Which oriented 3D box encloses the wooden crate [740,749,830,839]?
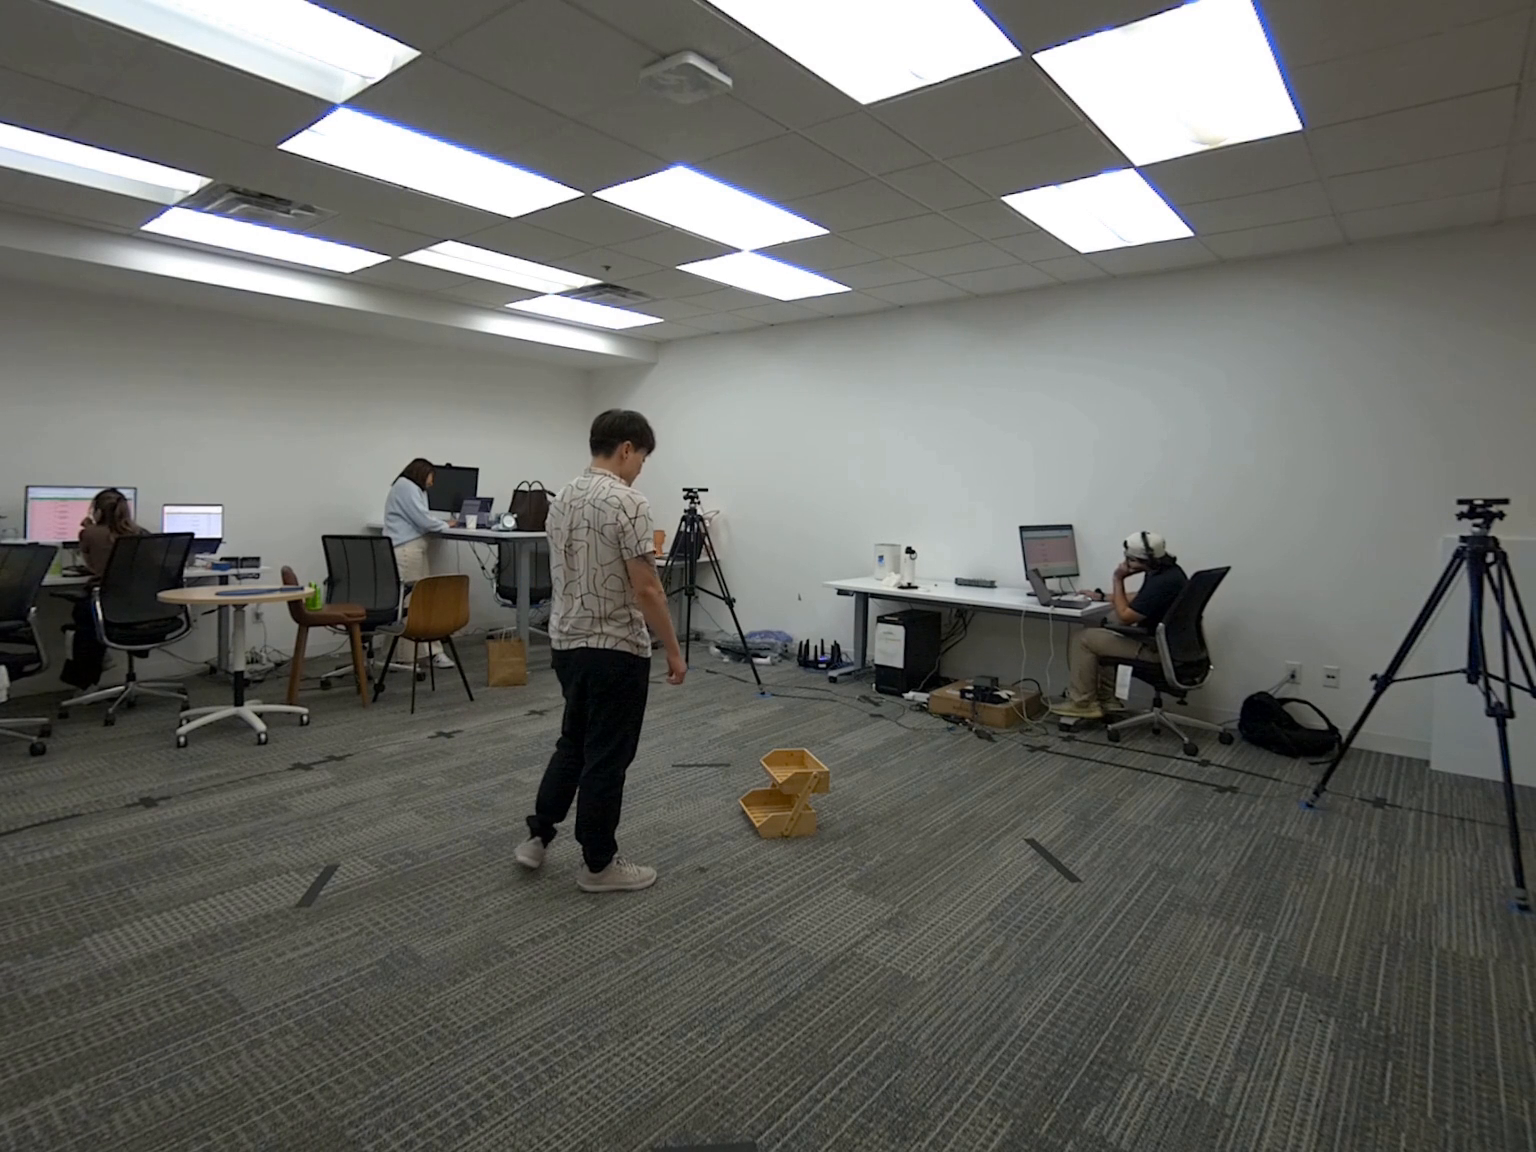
[{"bbox_3d":[0.049,0.892,3.570,0.297,0.272,0.331,0,5,-15],"label":"wooden crate"}]
